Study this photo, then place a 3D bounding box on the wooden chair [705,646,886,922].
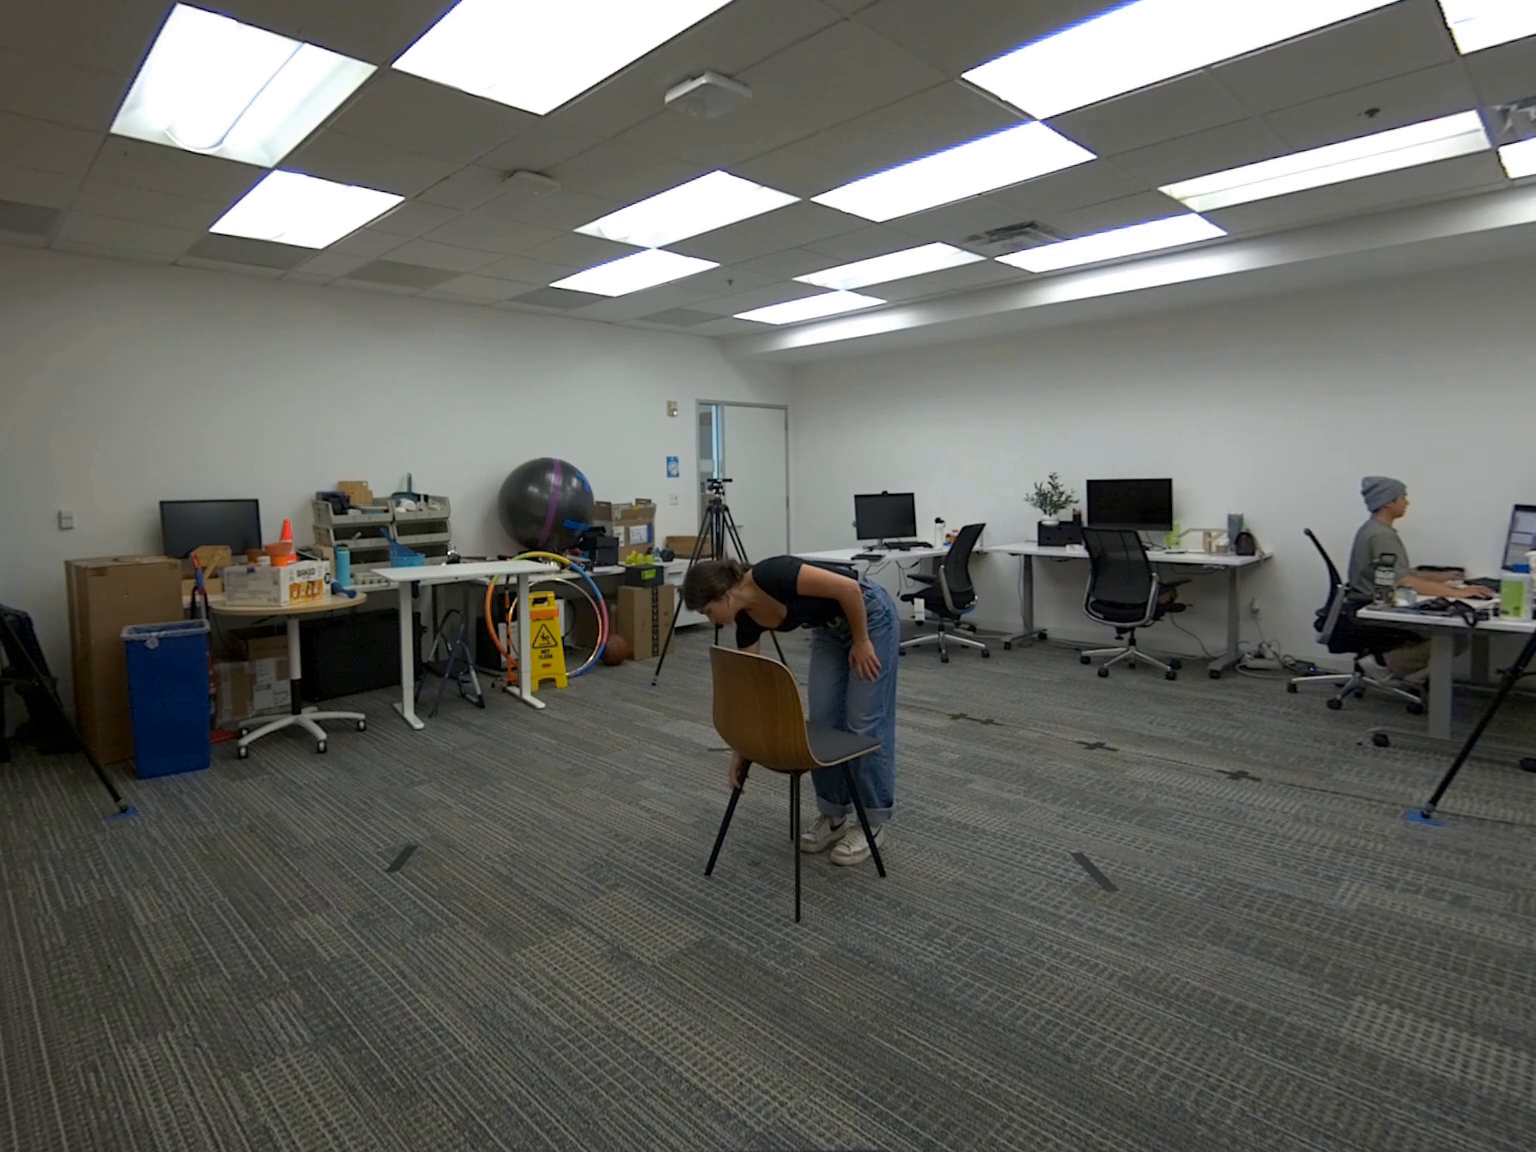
[{"bbox_3d":[0.094,0.632,2.968,0.511,0.872,0.493,-10,9,-43],"label":"wooden chair"}]
